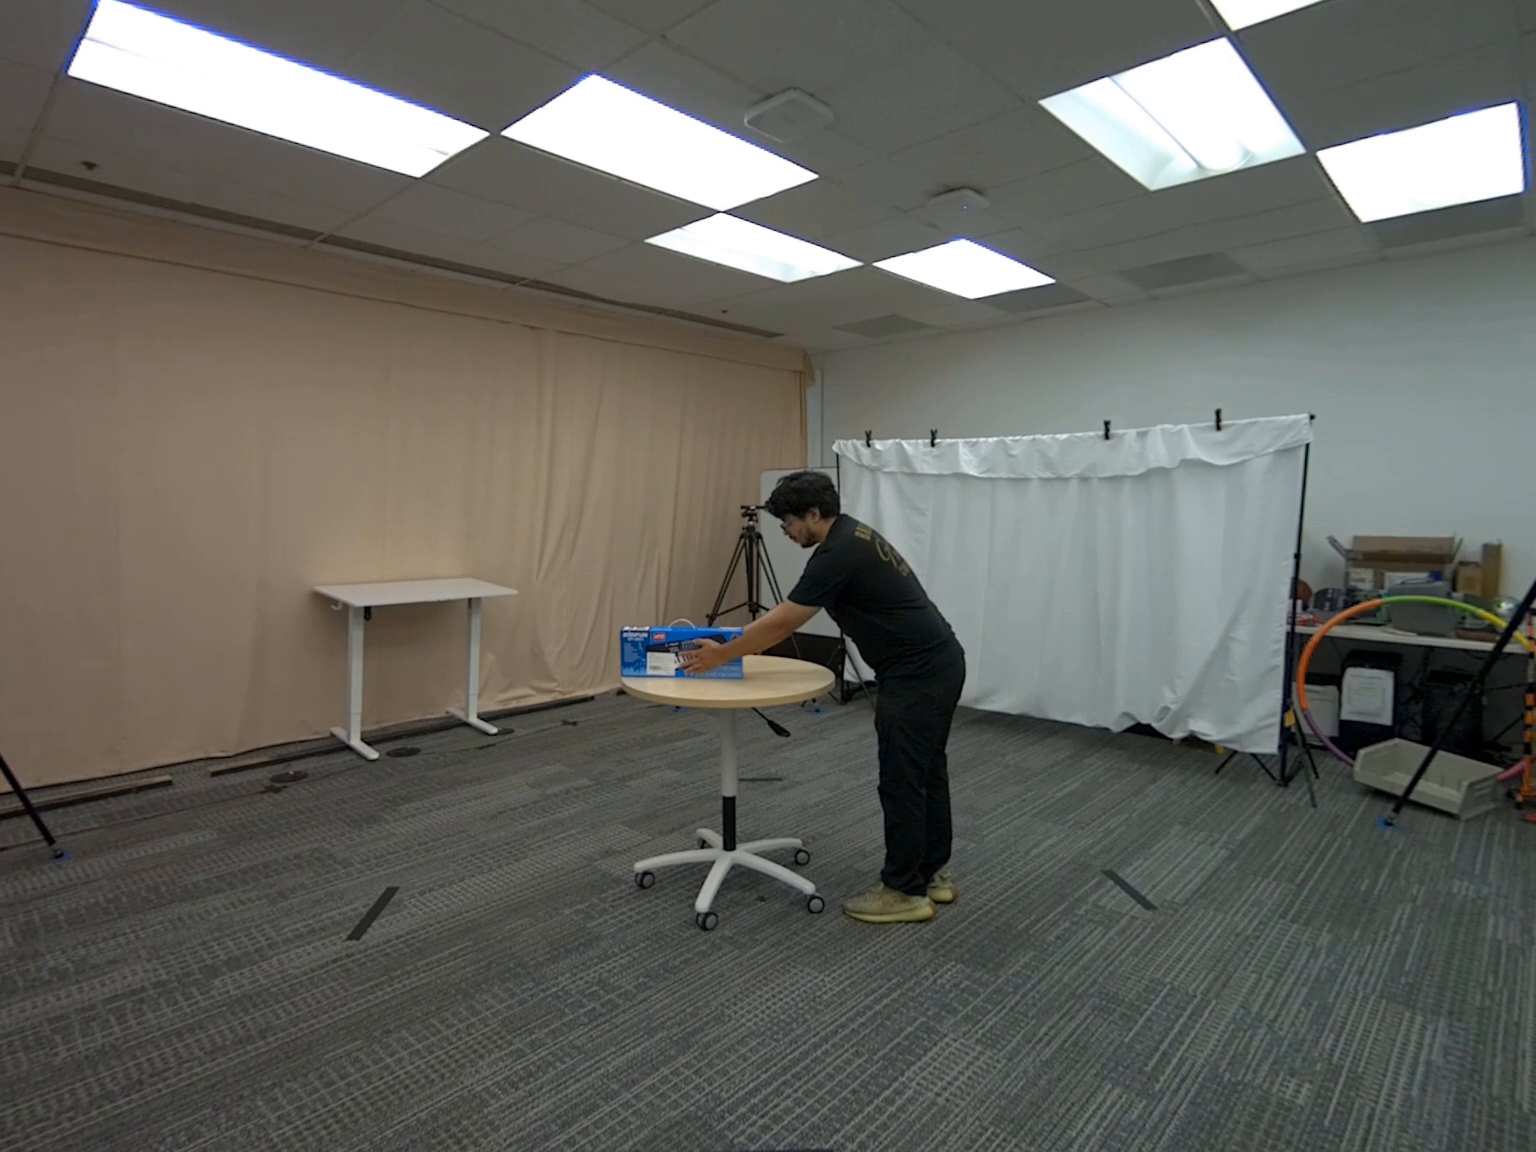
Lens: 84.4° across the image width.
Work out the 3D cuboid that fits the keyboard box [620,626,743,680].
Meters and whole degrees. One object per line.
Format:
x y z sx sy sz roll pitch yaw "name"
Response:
-0.306 0.281 3.027 0.439 0.175 0.059 -1 4 5 "keyboard box"
